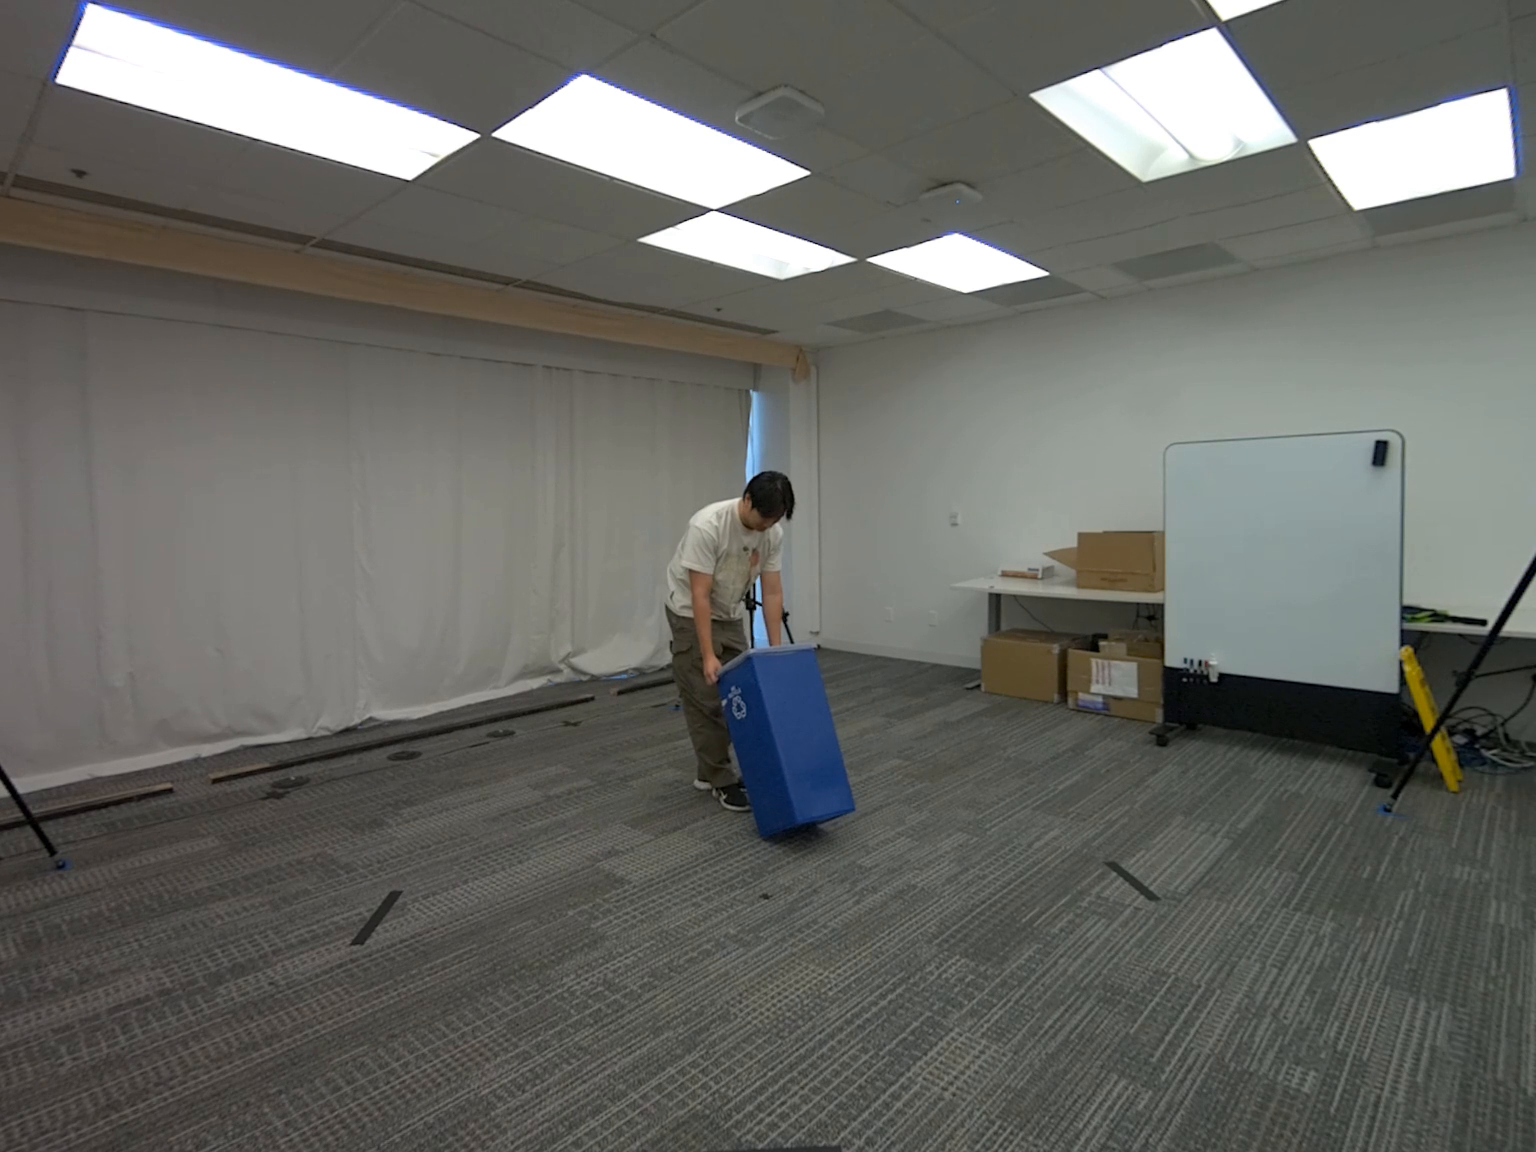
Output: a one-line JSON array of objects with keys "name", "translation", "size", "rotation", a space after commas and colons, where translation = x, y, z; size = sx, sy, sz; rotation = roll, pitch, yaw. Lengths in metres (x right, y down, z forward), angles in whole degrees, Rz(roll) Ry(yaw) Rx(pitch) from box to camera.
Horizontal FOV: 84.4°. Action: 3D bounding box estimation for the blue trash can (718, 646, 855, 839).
[{"name": "blue trash can", "translation": [0.079, 0.690, 3.578], "size": [0.367, 0.727, 0.378], "rotation": [-2, -26, -34]}]
